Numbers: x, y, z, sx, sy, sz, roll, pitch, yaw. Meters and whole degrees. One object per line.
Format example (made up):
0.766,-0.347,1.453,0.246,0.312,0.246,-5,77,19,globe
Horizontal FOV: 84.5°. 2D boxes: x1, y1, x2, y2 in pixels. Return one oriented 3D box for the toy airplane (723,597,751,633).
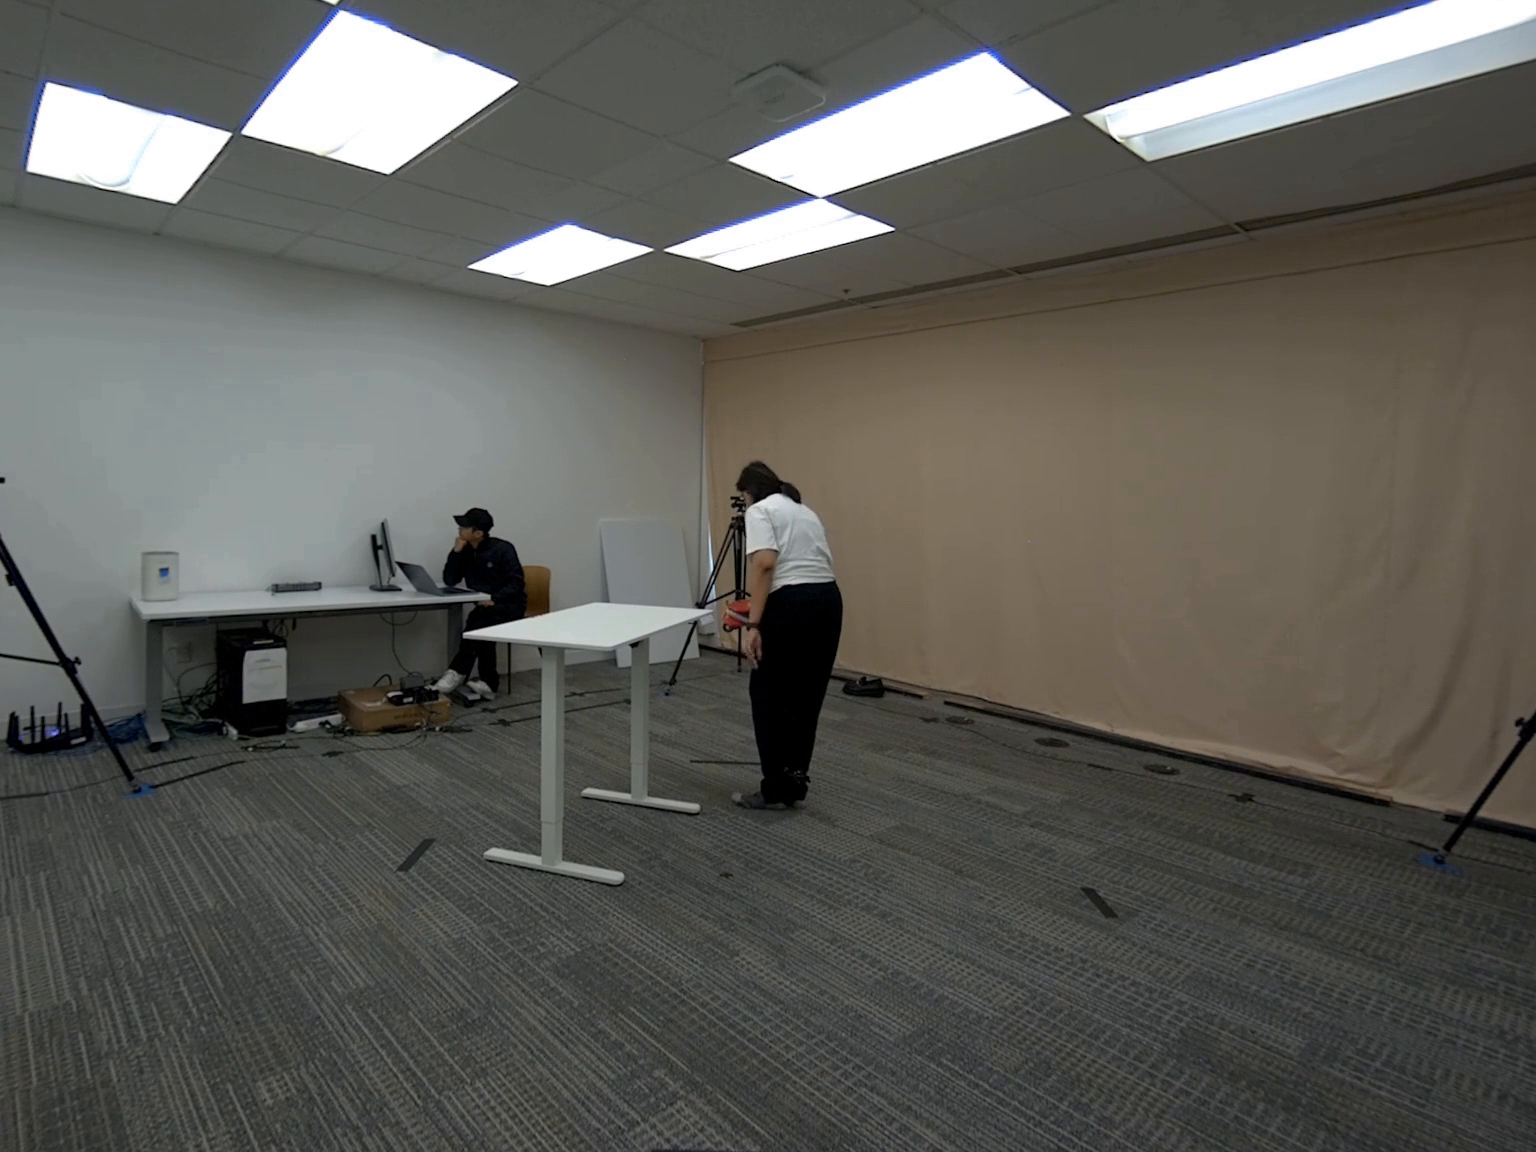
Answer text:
-0.107,0.212,4.182,0.258,0.156,0.253,4,7,-4,toy airplane
